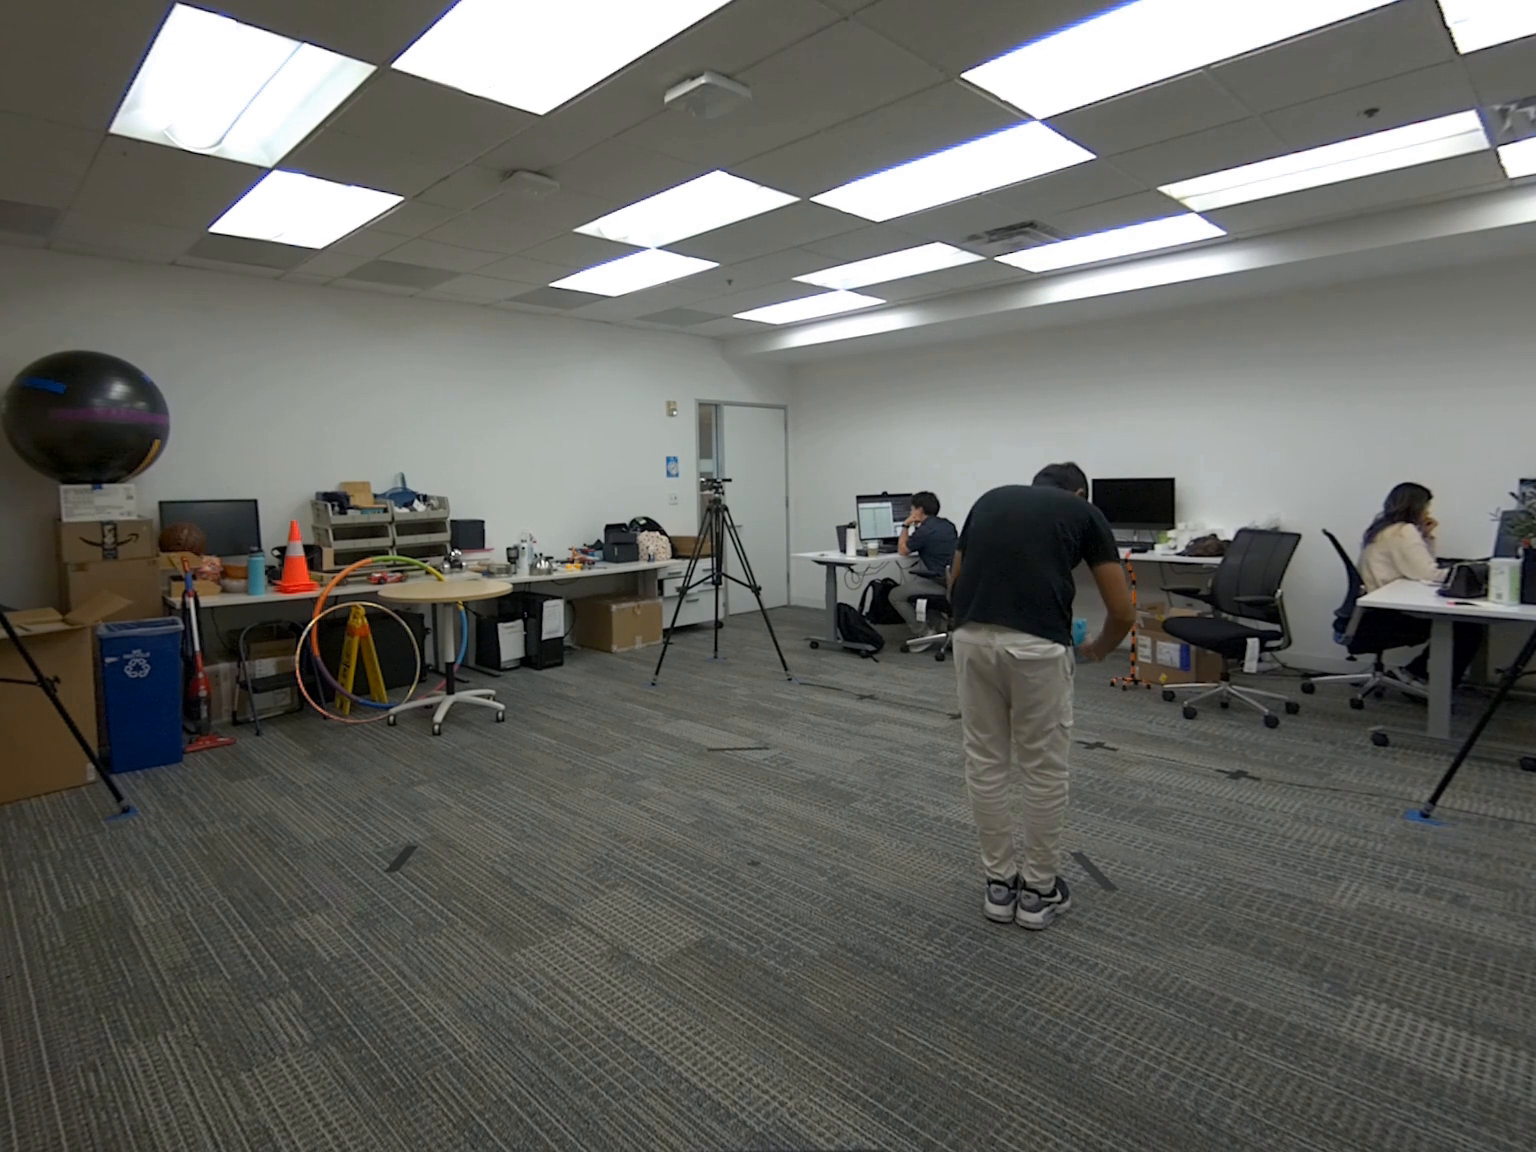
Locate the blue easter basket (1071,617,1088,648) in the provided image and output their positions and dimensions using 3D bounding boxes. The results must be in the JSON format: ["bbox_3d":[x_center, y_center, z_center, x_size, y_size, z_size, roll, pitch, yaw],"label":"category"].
[{"bbox_3d":[1.033,0.221,3.017,0.243,0.156,0.244,-7,1,-2],"label":"blue easter basket"}]
